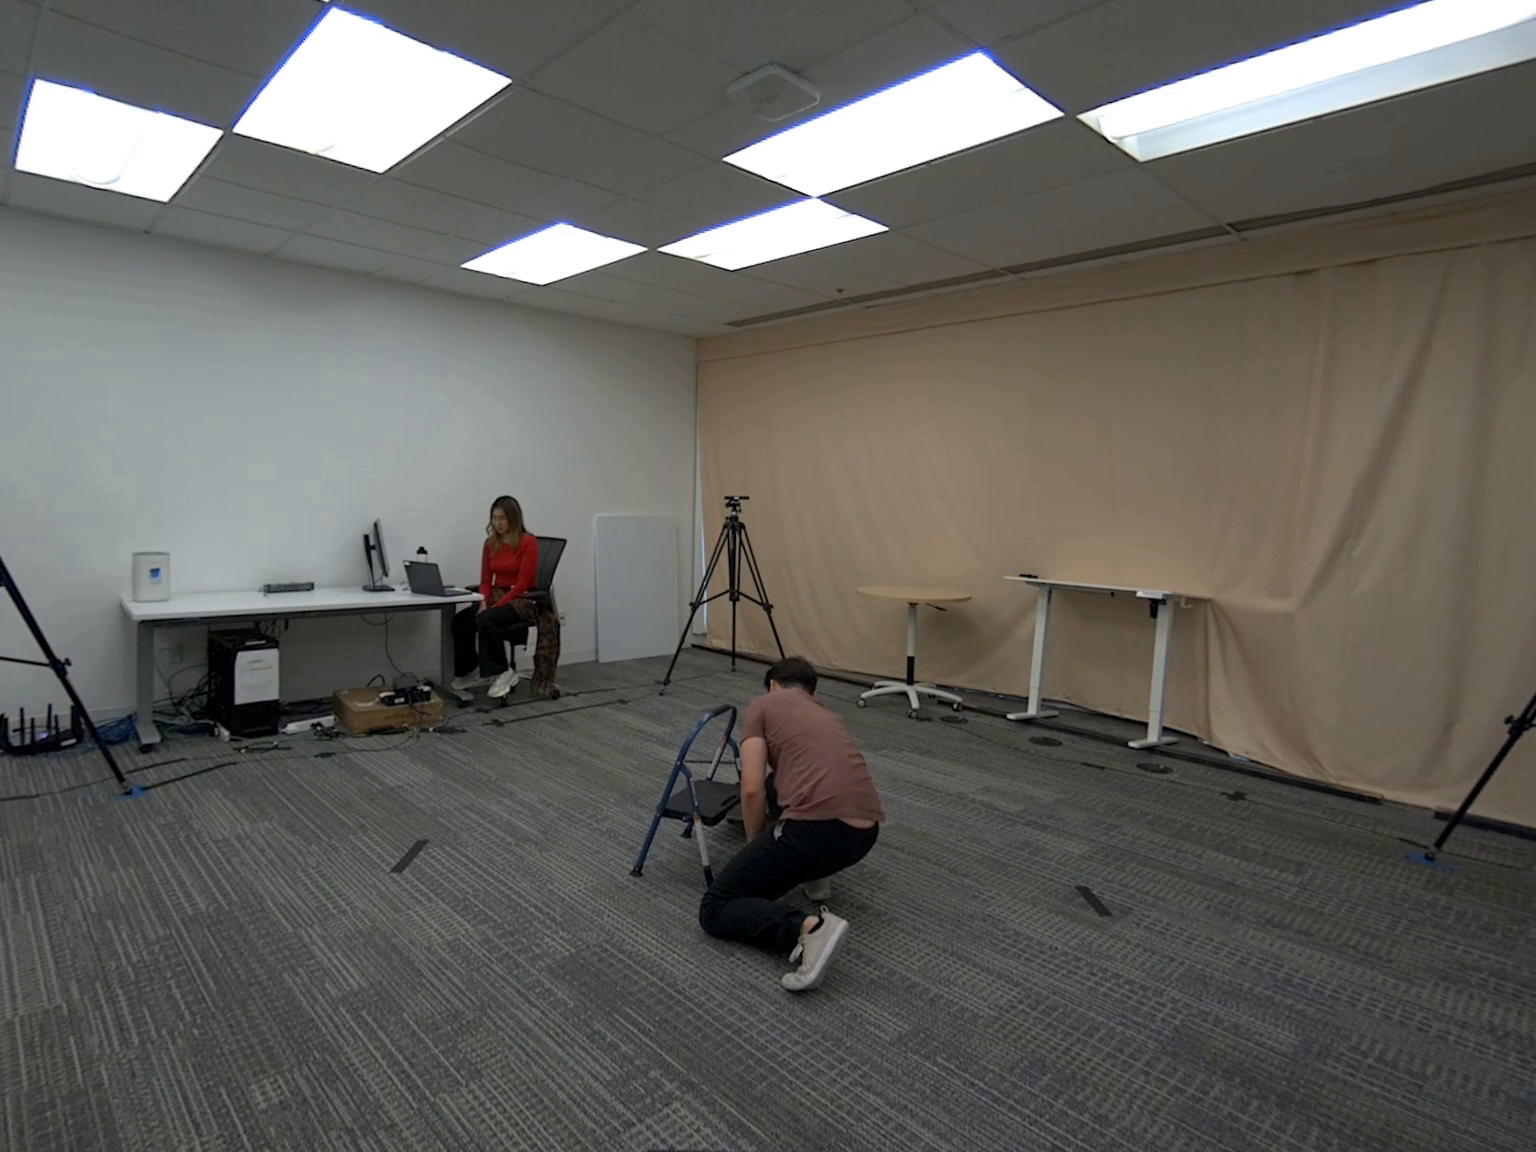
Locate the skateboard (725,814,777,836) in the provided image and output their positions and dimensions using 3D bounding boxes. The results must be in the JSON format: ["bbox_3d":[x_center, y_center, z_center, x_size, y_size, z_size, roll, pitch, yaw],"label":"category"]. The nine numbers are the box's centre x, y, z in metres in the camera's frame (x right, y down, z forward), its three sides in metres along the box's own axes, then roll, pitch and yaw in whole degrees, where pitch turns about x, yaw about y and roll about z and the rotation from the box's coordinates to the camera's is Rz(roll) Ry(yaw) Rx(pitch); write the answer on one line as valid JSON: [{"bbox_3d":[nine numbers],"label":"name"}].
[{"bbox_3d":[-0.008,1.000,3.757,0.197,0.110,0.771,4,5,26],"label":"skateboard"}]
